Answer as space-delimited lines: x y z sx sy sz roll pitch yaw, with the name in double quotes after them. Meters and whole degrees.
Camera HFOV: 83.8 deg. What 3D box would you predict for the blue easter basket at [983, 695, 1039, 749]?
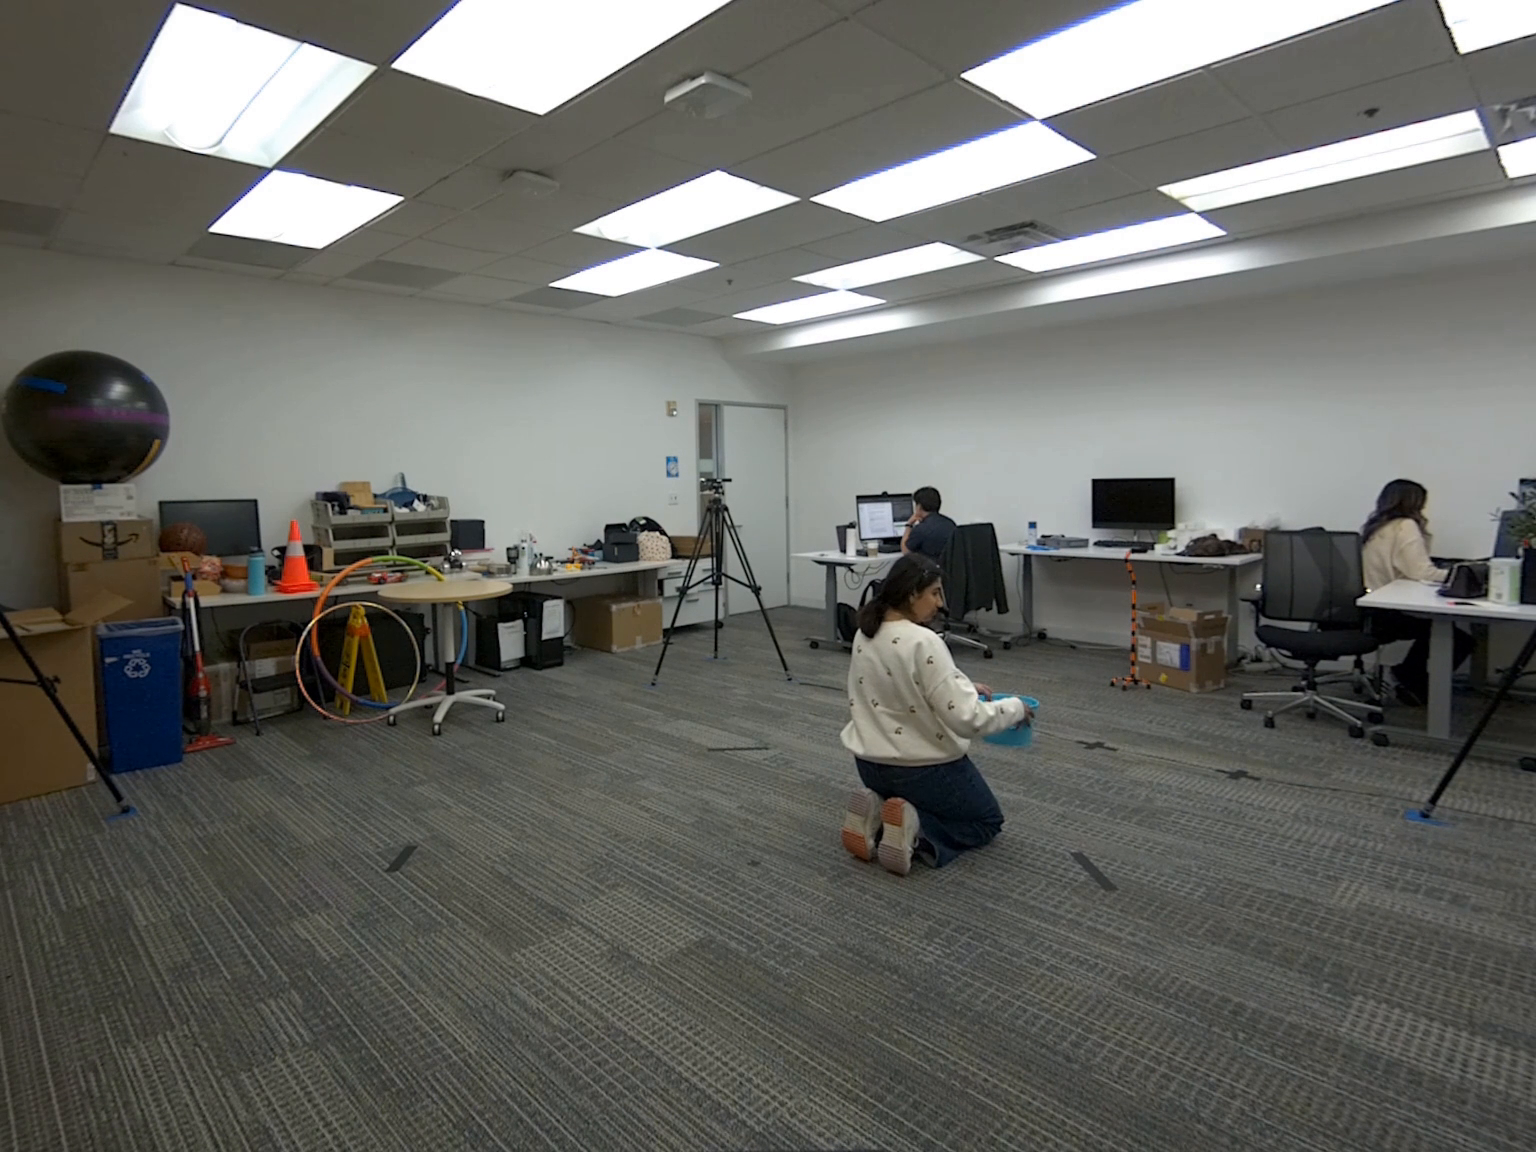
0.899 0.540 3.223 0.243 0.155 0.245 1 5 -2 "blue easter basket"
